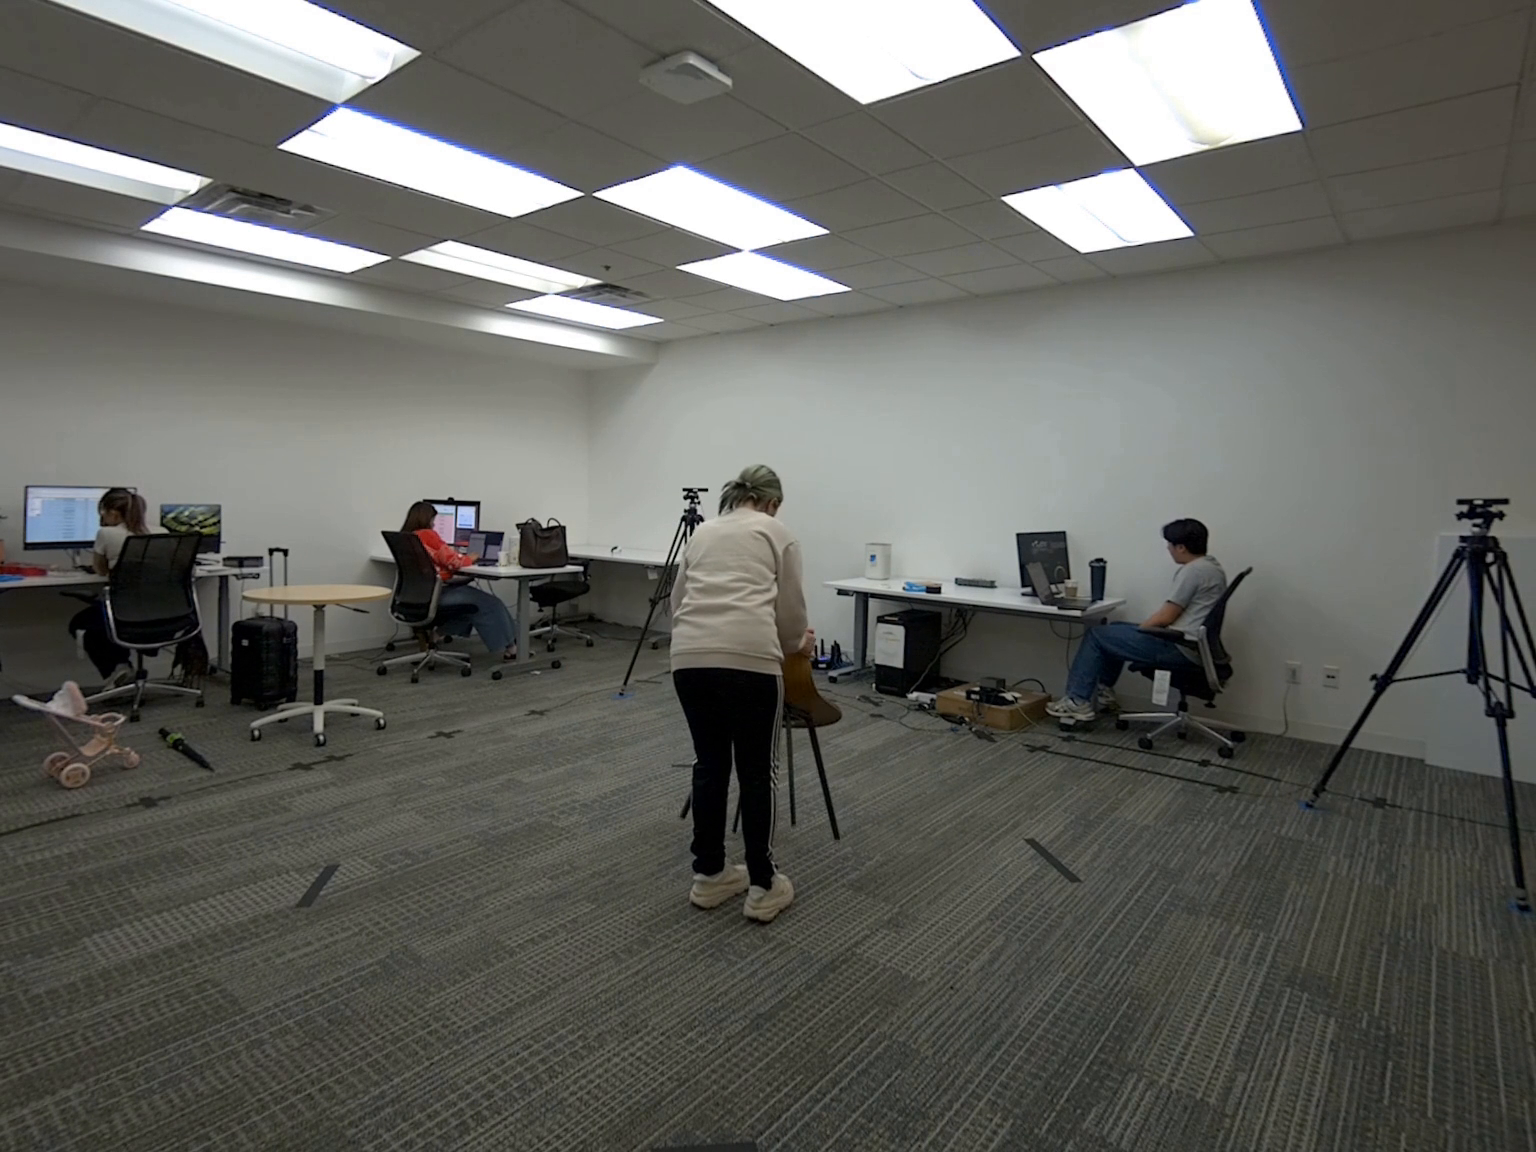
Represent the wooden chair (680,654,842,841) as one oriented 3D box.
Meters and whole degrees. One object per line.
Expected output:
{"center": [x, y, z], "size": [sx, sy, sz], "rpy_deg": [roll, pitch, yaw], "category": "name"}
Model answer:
{"center": [0.006, 0.536, 3.293], "size": [0.489, 0.893, 0.503], "rpy_deg": [-8, -21, 25], "category": "wooden chair"}
